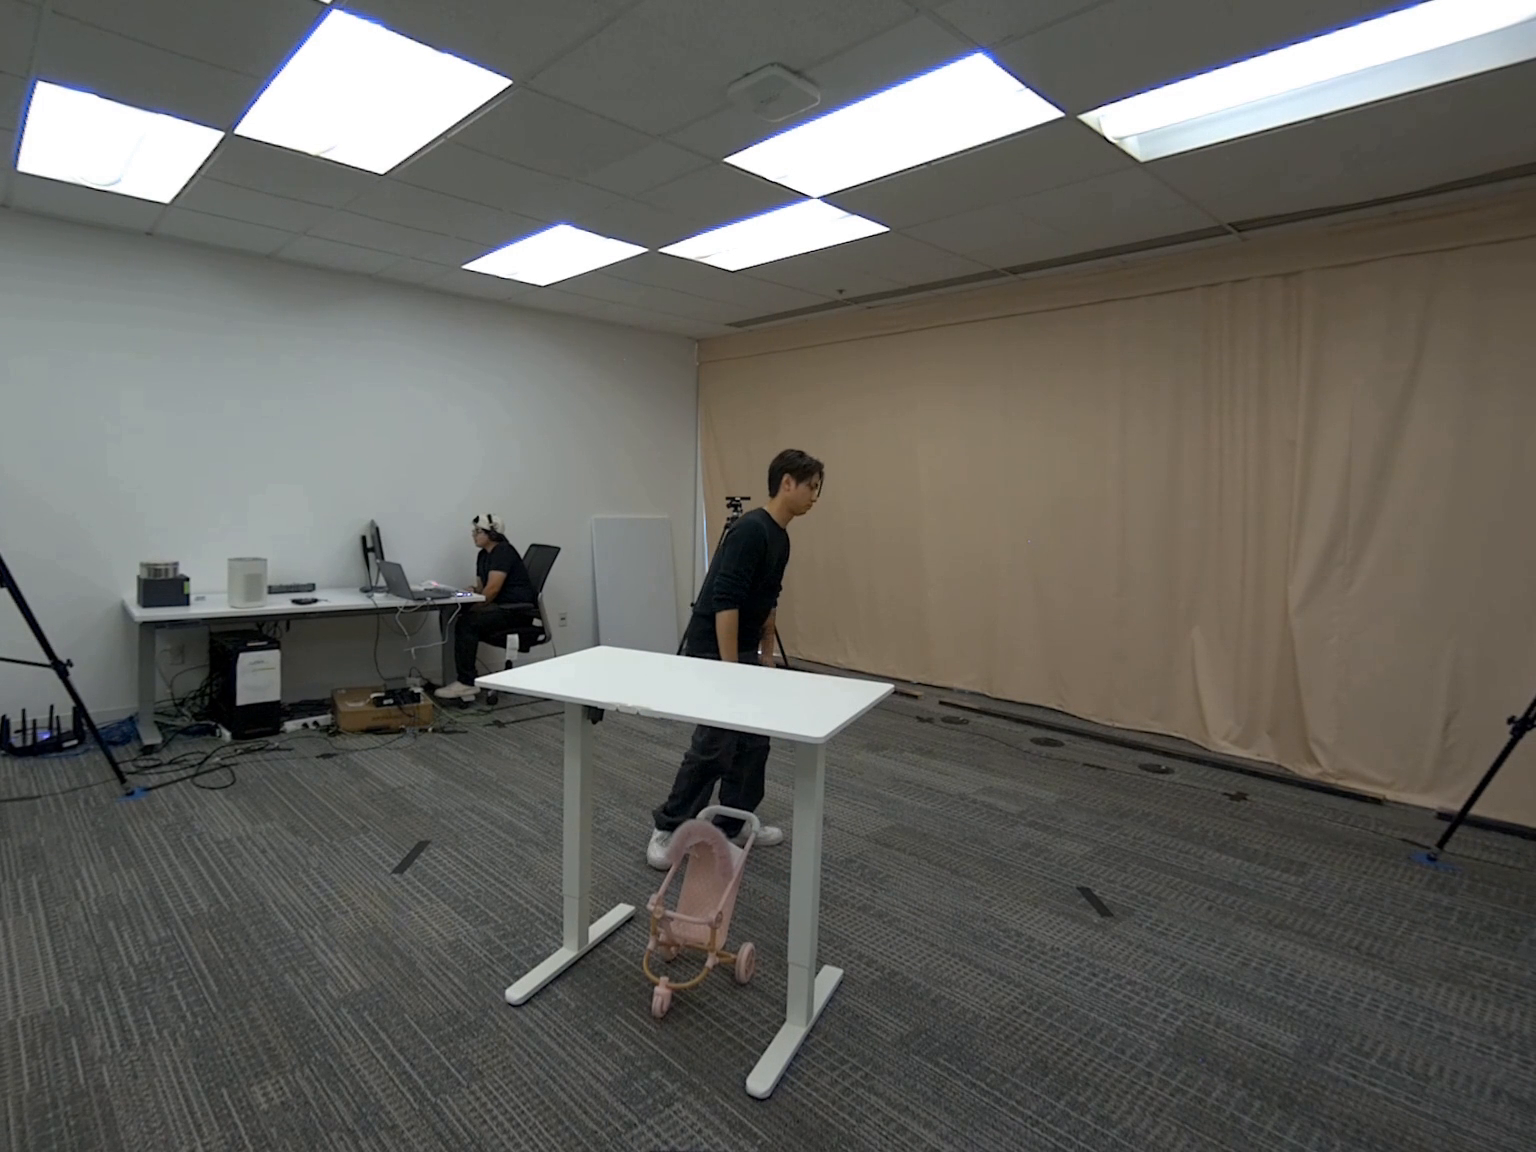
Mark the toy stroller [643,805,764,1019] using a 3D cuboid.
[{"bbox_3d":[-0.212,0.950,2.410,0.287,0.538,0.332,3,-12,29],"label":"toy stroller"}]
